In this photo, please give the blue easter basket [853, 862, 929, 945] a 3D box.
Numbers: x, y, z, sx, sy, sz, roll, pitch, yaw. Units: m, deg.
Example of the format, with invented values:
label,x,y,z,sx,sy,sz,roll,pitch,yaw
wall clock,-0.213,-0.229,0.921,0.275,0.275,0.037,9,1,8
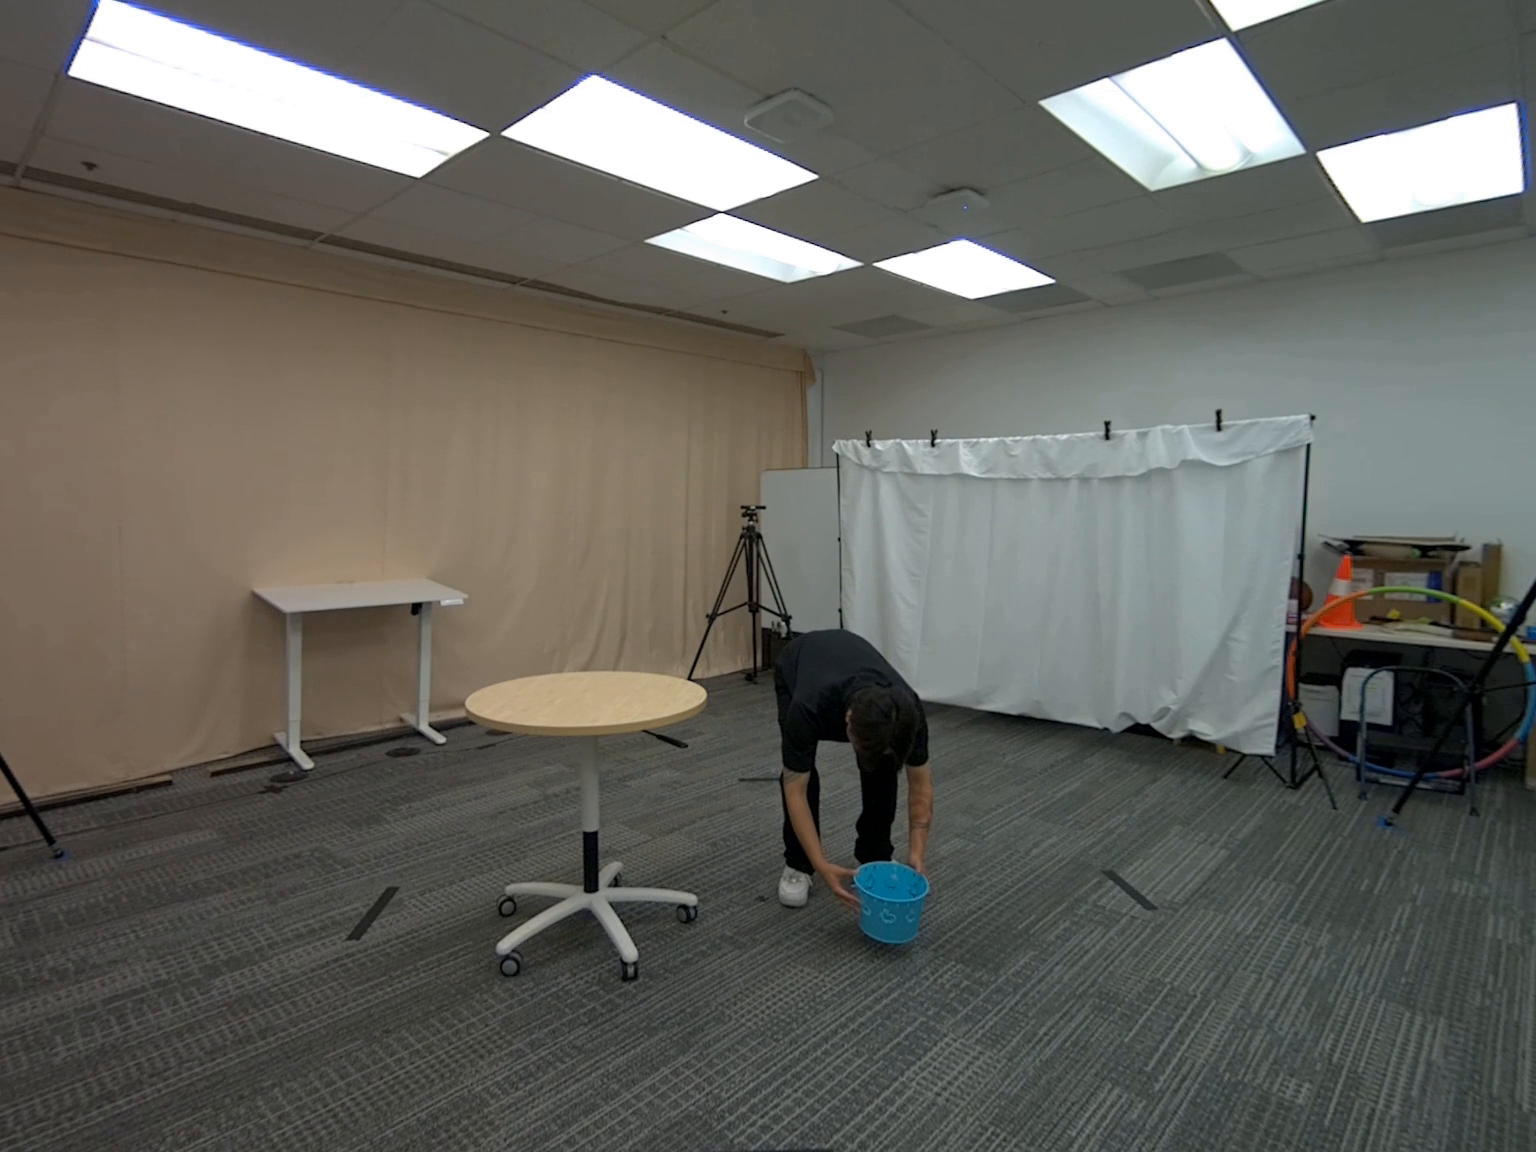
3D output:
label,x,y,z,sx,sy,sz,roll,pitch,yaw
blue easter basket,0.388,1.033,2.616,0.243,0.155,0.245,1,9,-2
